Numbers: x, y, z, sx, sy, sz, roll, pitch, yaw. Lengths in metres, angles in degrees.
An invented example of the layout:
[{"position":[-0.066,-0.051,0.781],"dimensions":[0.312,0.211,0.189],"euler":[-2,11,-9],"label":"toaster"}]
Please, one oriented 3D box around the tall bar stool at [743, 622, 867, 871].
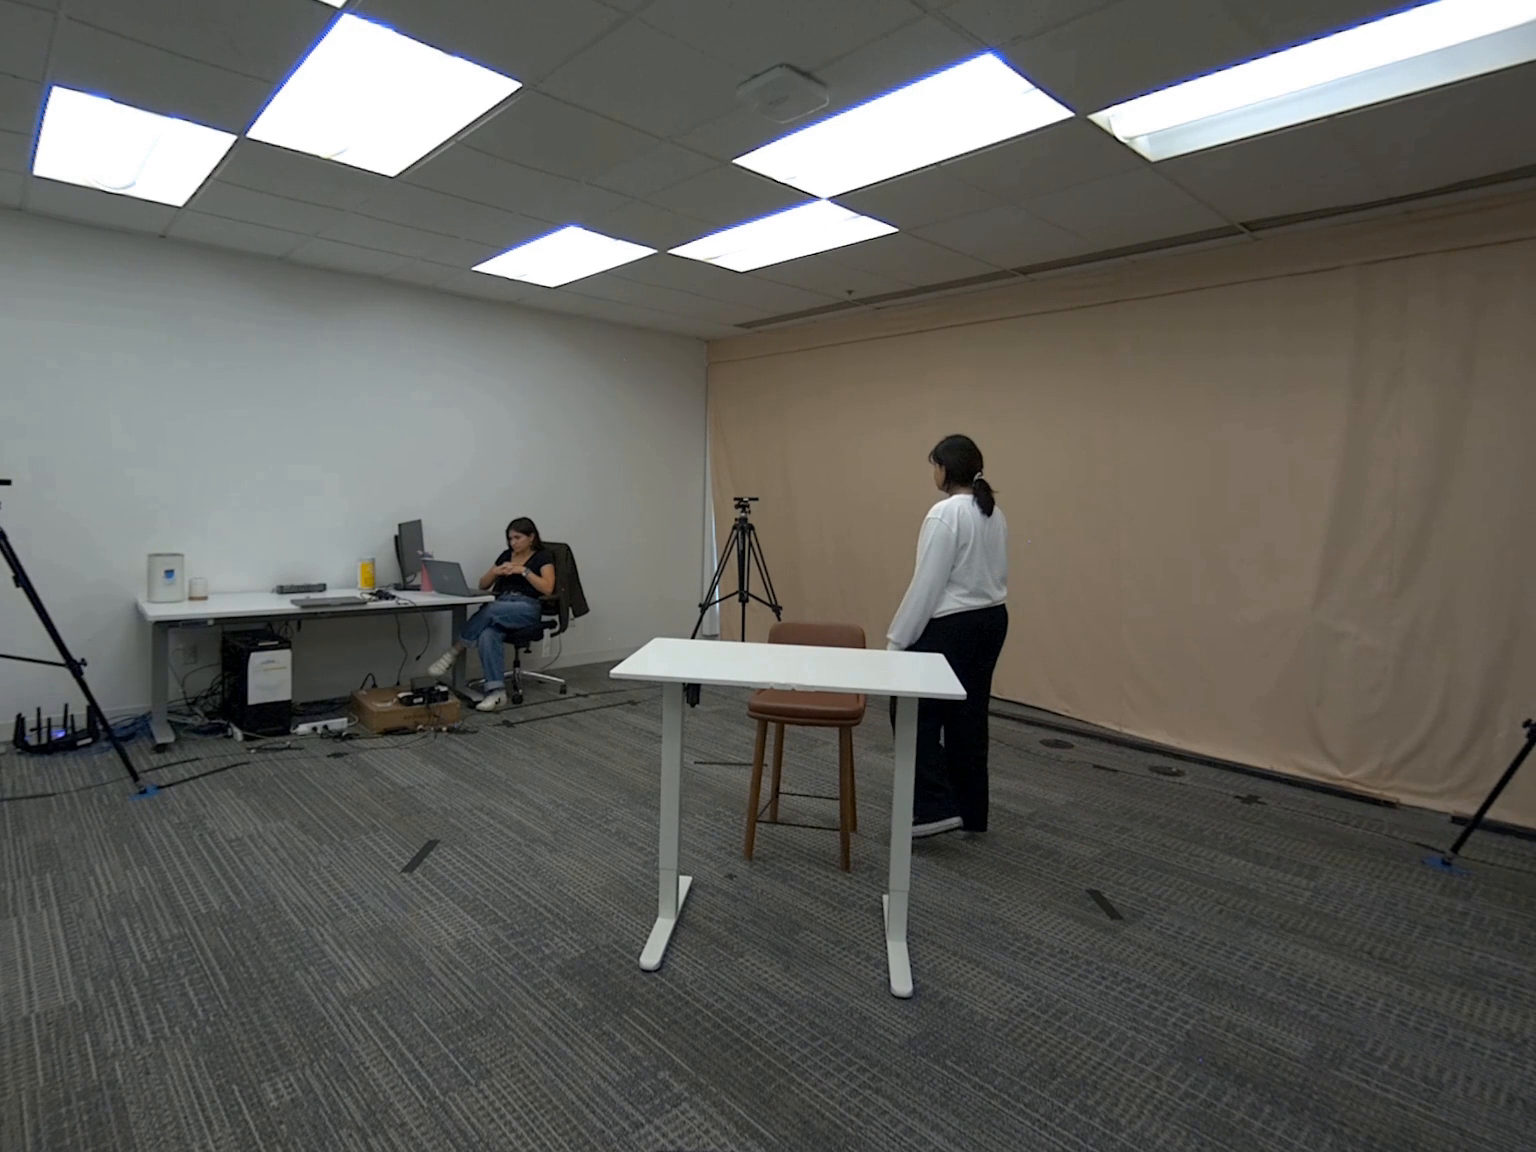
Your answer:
[{"position":[0.157,0.656,3.400],"dimensions":[0.462,0.889,0.462],"euler":[3,1,14],"label":"tall bar stool"}]
